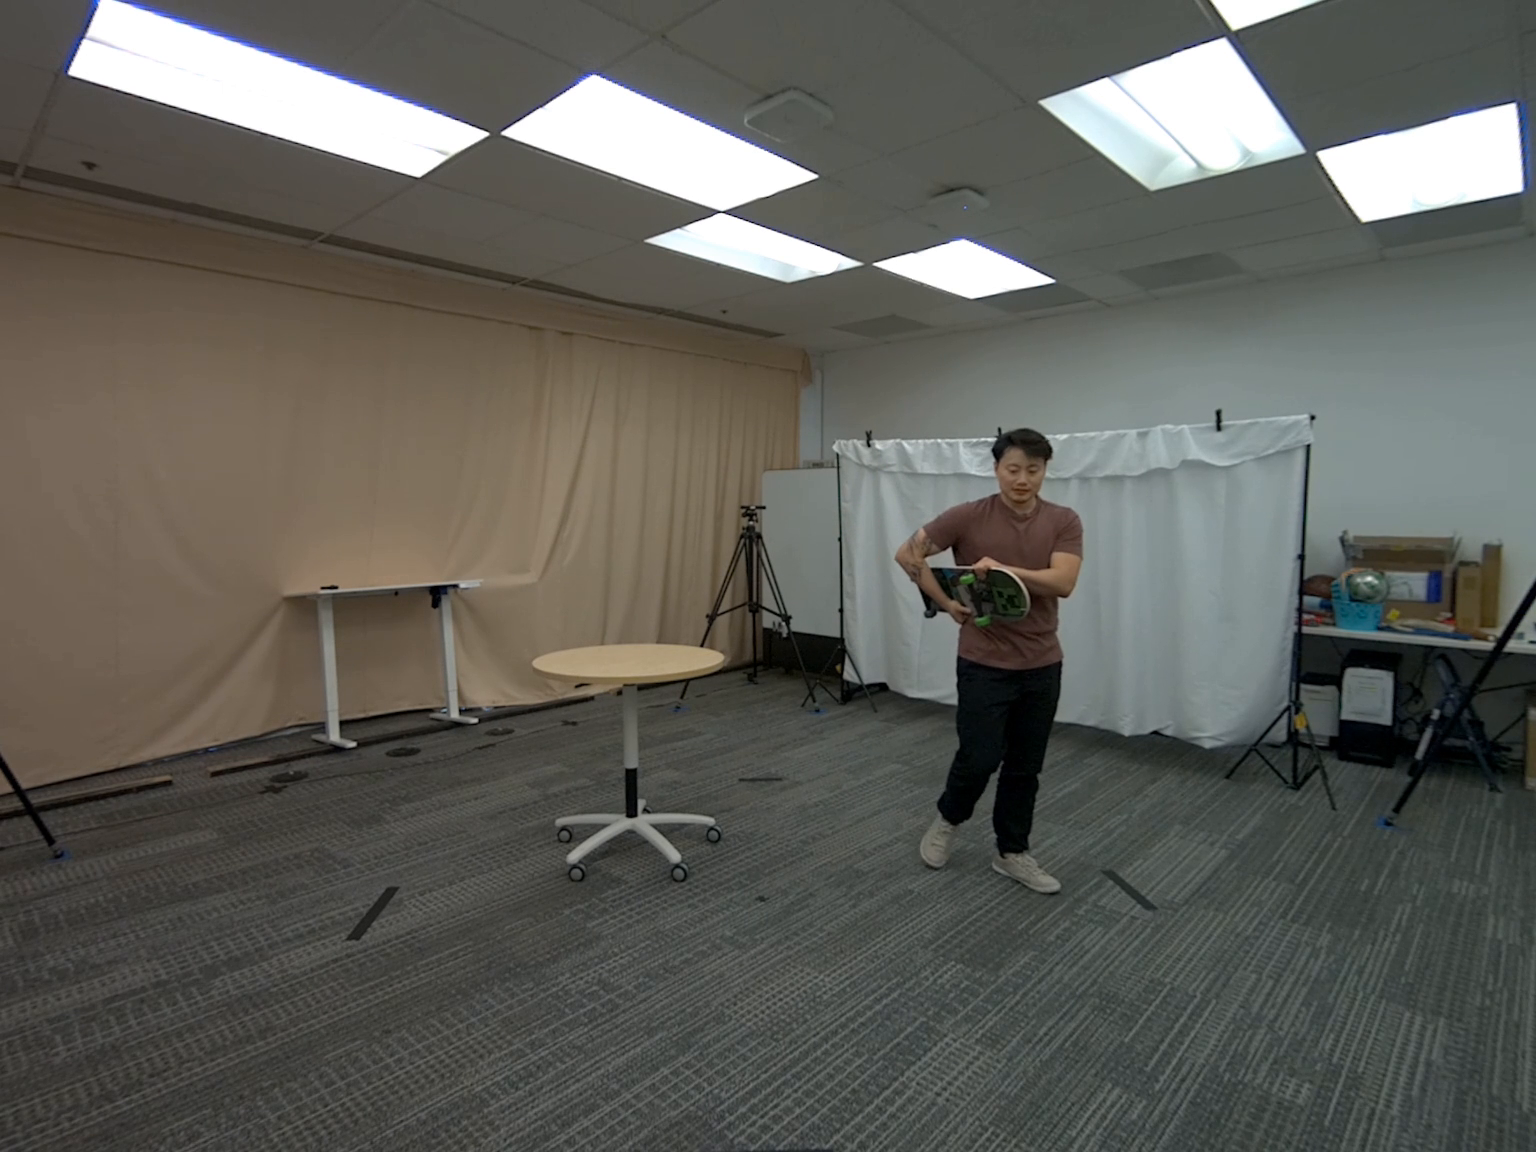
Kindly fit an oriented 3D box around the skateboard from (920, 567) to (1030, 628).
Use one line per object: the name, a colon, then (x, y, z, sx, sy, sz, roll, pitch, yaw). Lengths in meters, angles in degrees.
skateboard: (0.688, 0.079, 3.087, 0.109, 0.193, 0.795, -21, 5, -13)
